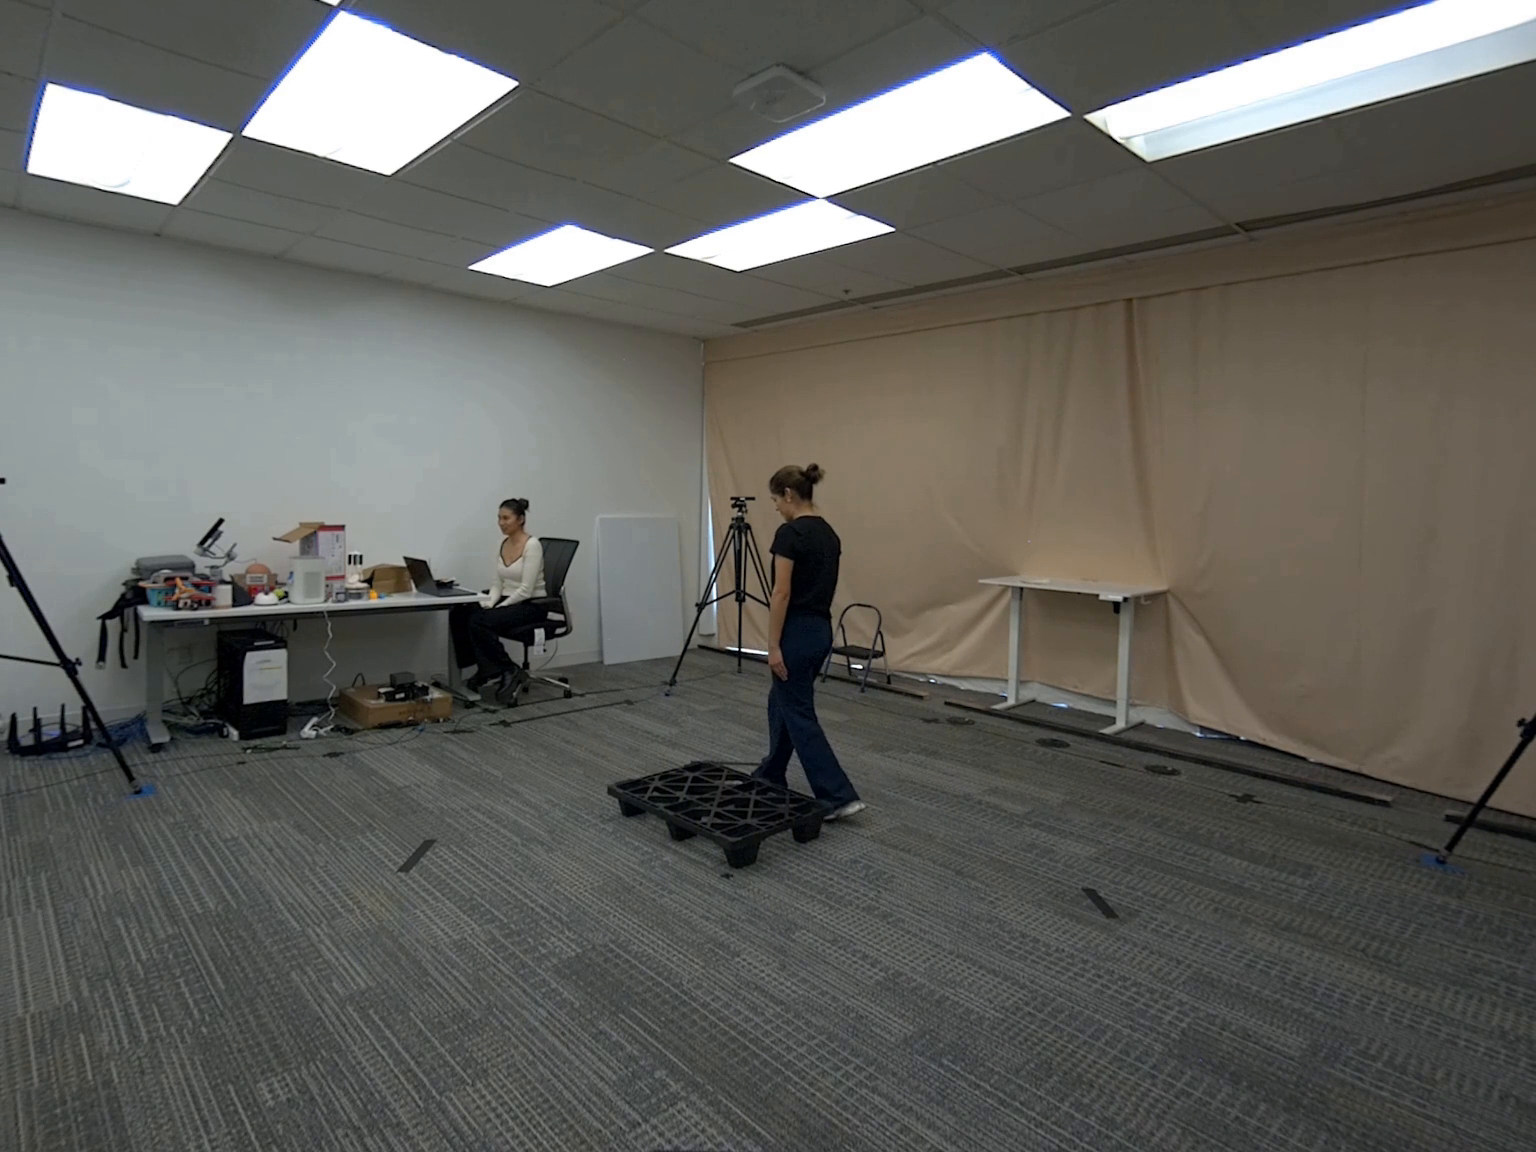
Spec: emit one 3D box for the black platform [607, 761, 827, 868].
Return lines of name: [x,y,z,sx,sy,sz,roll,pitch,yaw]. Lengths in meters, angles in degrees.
black platform: [-0.222,1.000,3.556,0.826,0.143,0.591,6,7,44]
